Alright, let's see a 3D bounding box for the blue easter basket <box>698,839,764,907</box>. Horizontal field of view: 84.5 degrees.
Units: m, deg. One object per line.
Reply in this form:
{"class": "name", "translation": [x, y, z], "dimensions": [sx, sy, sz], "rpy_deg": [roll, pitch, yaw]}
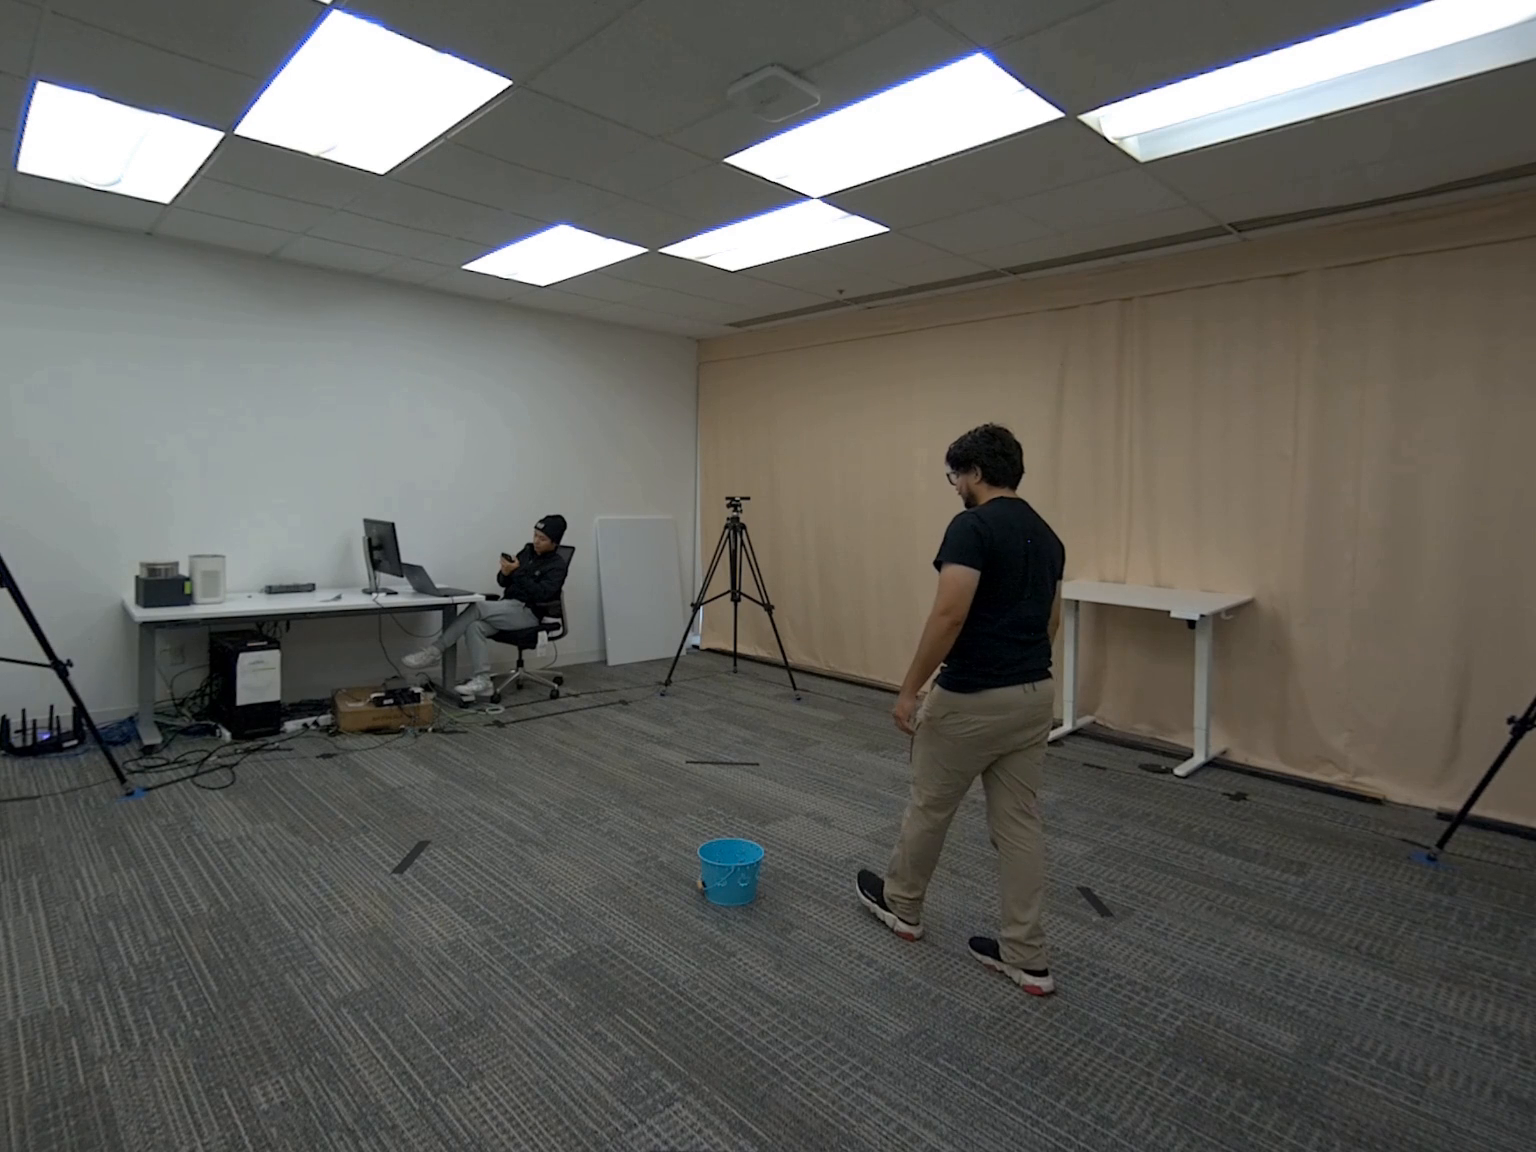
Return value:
{"class": "blue easter basket", "translation": [-0.146, 1.038, 2.966], "dimensions": [0.243, 0.155, 0.244], "rpy_deg": [1, 5, -1]}
